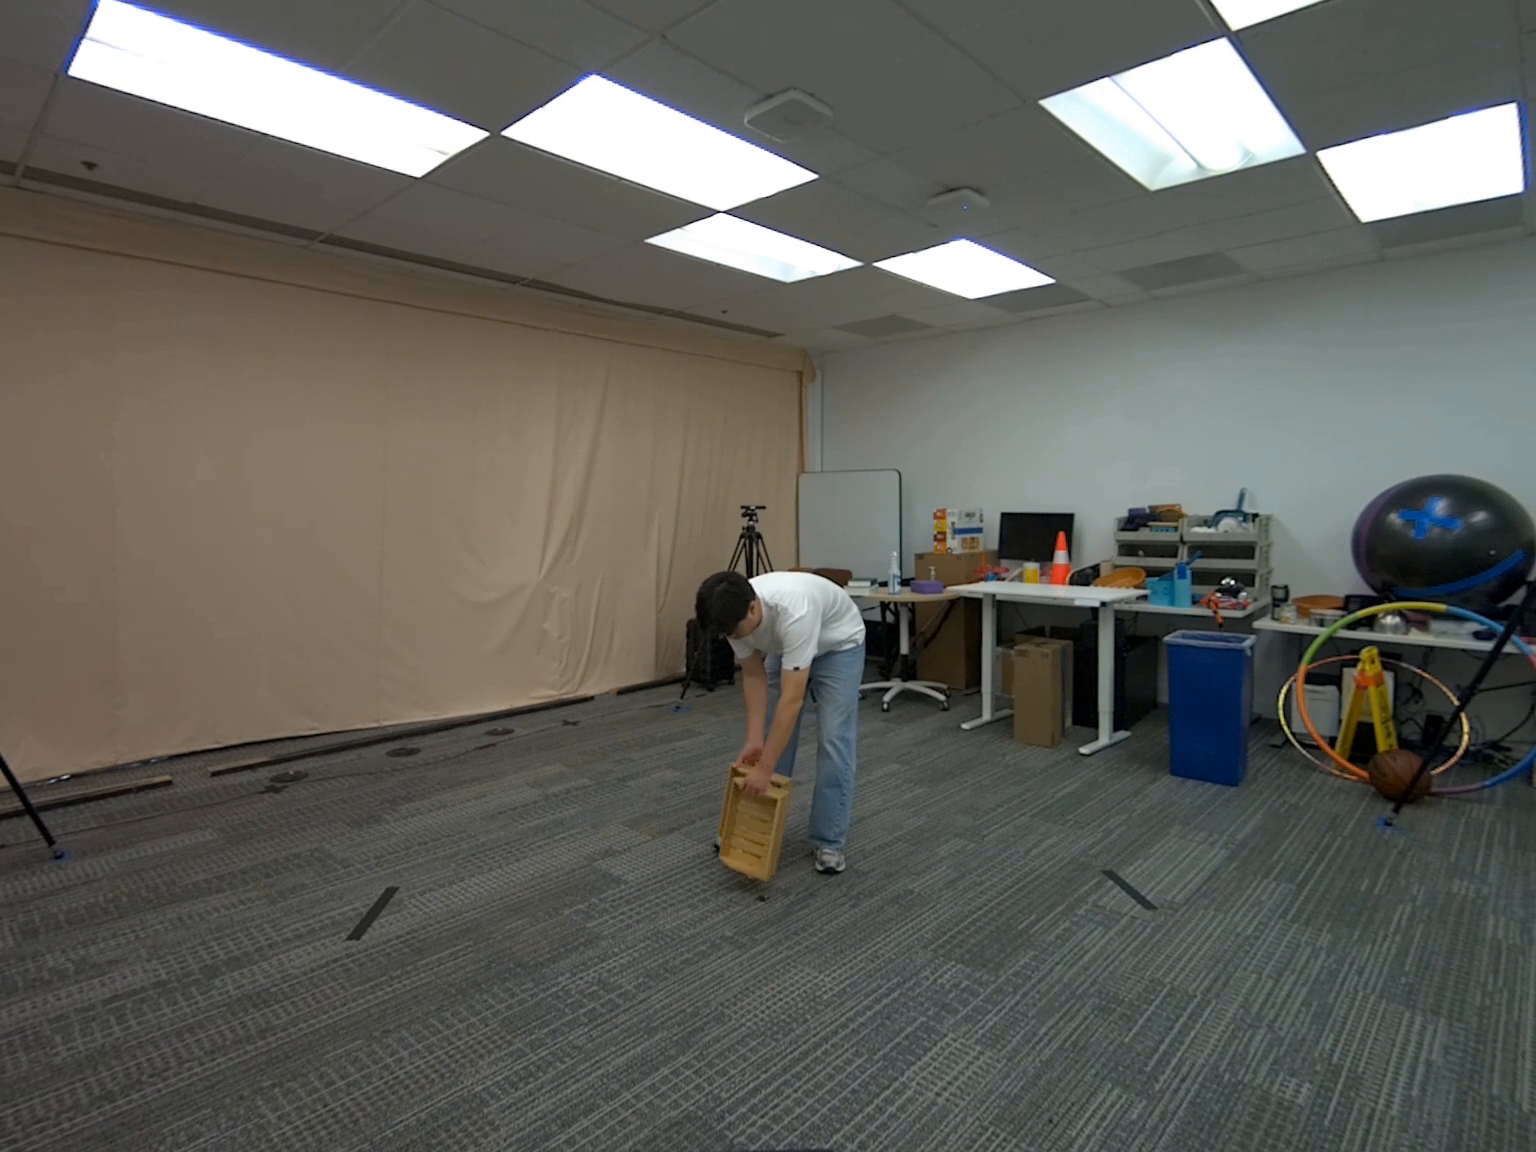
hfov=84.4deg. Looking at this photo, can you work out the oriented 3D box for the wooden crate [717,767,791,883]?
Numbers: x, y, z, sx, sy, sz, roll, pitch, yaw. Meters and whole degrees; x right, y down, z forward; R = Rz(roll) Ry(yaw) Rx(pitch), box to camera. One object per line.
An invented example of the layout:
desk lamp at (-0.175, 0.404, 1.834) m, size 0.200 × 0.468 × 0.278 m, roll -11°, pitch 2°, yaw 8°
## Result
wooden crate at (-0.071, 0.898, 3.132) m, size 0.310 × 0.324 × 0.266 m, roll 10°, pitch 1°, yaw 24°
